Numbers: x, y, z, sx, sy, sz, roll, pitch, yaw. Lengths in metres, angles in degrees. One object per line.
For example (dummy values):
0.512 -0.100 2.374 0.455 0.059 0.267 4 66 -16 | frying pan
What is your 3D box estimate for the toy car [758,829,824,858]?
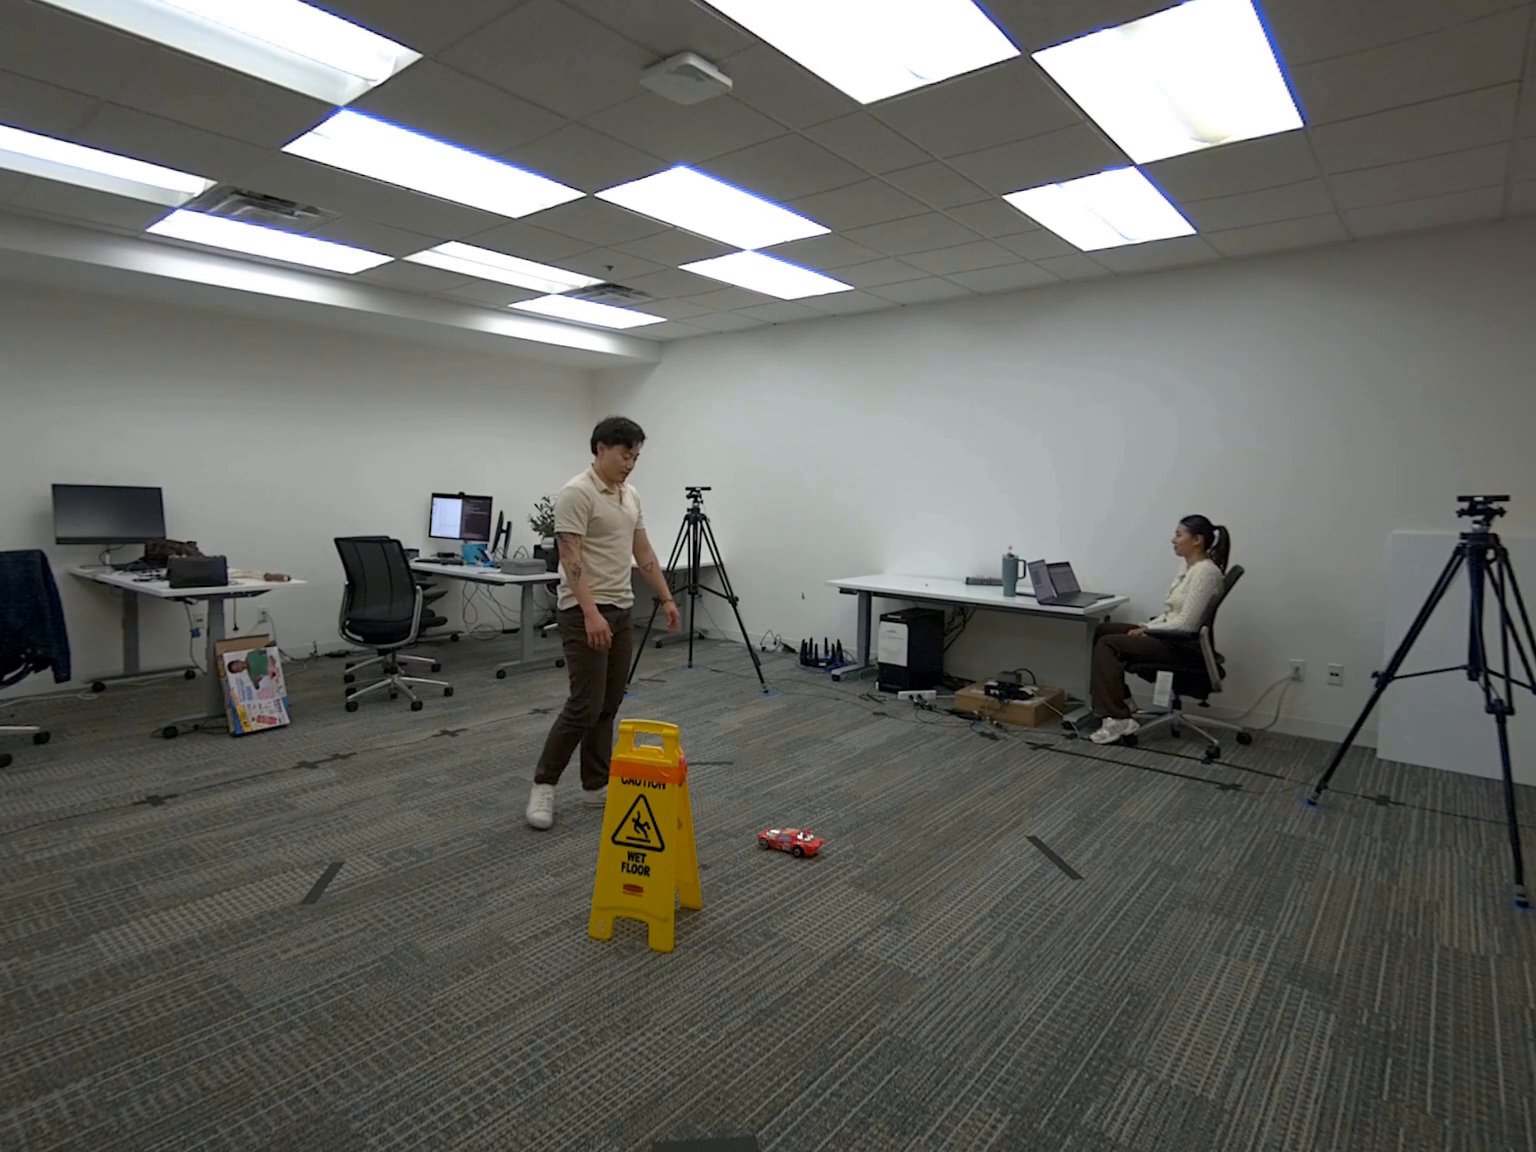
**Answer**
0.085 1.022 3.279 0.260 0.083 0.127 -8 -1 30 | toy car
